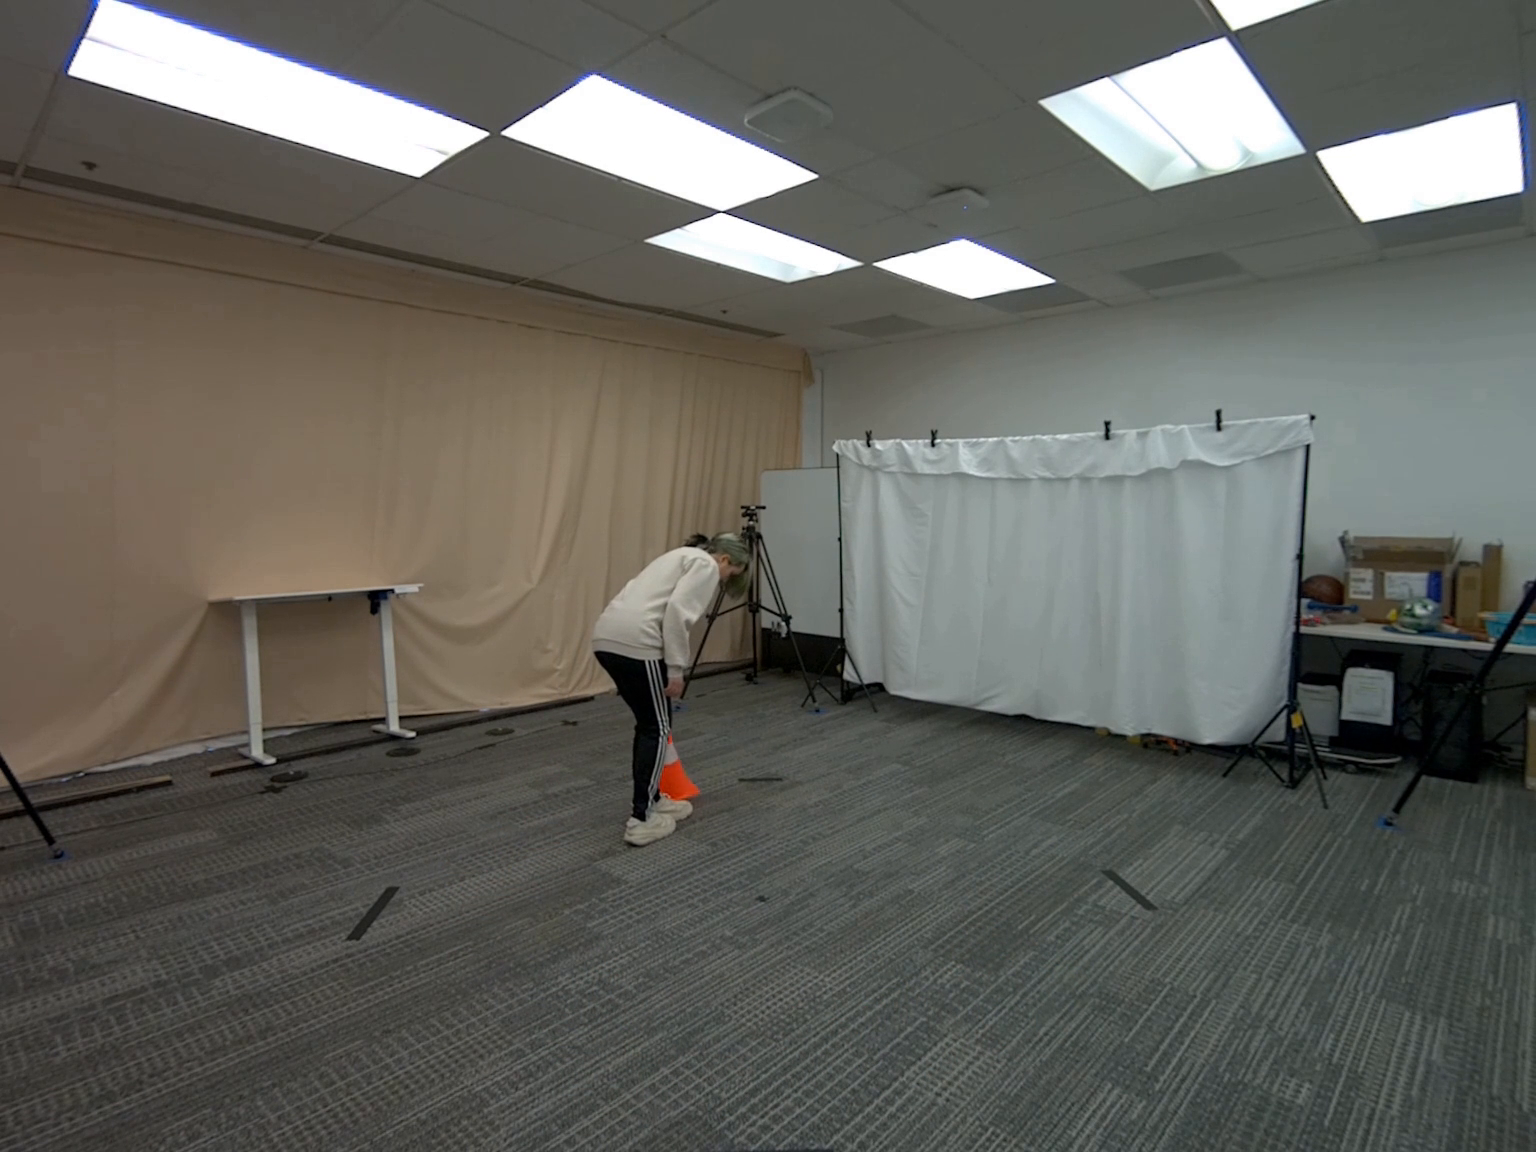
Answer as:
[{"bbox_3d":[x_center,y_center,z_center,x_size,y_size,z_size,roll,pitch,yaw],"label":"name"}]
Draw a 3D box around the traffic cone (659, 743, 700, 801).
[{"bbox_3d":[-0.480,0.840,3.943,0.200,0.379,0.210,-15,18,-33],"label":"traffic cone"}]
